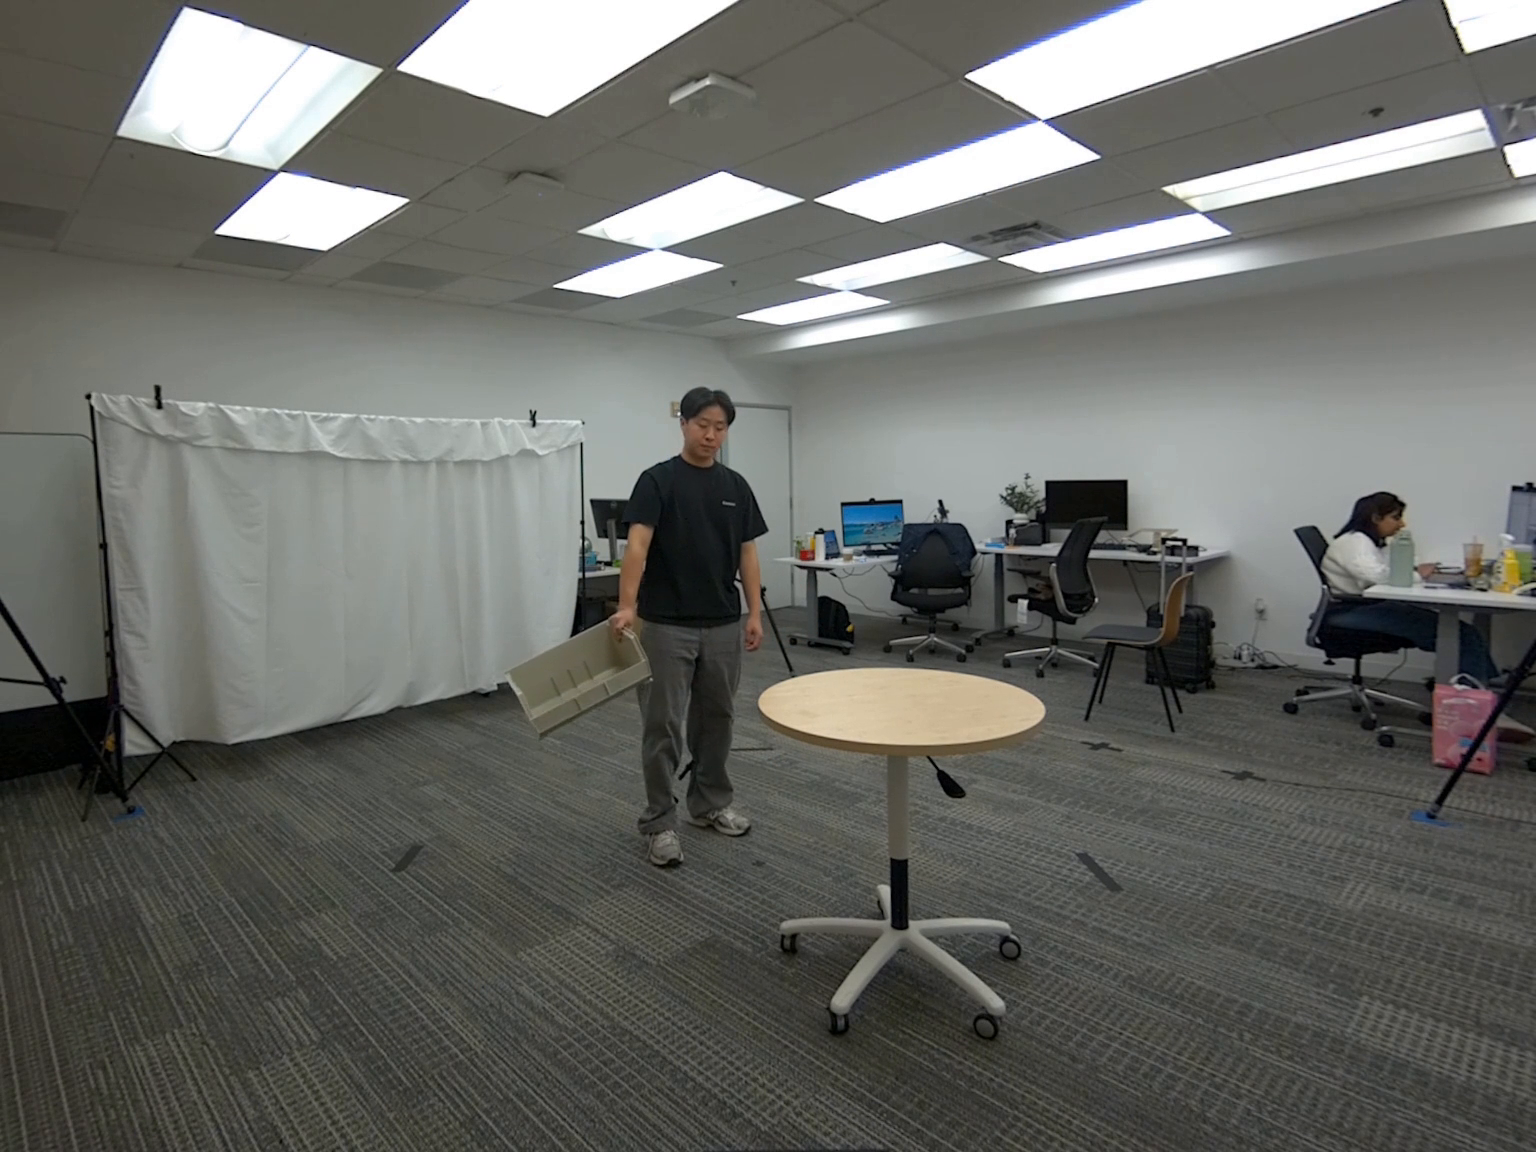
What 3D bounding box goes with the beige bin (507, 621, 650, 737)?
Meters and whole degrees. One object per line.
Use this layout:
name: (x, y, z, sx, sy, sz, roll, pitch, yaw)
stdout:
beige bin: (-0.639, 0.340, 2.888, 0.419, 0.186, 0.385, -27, 12, -19)
